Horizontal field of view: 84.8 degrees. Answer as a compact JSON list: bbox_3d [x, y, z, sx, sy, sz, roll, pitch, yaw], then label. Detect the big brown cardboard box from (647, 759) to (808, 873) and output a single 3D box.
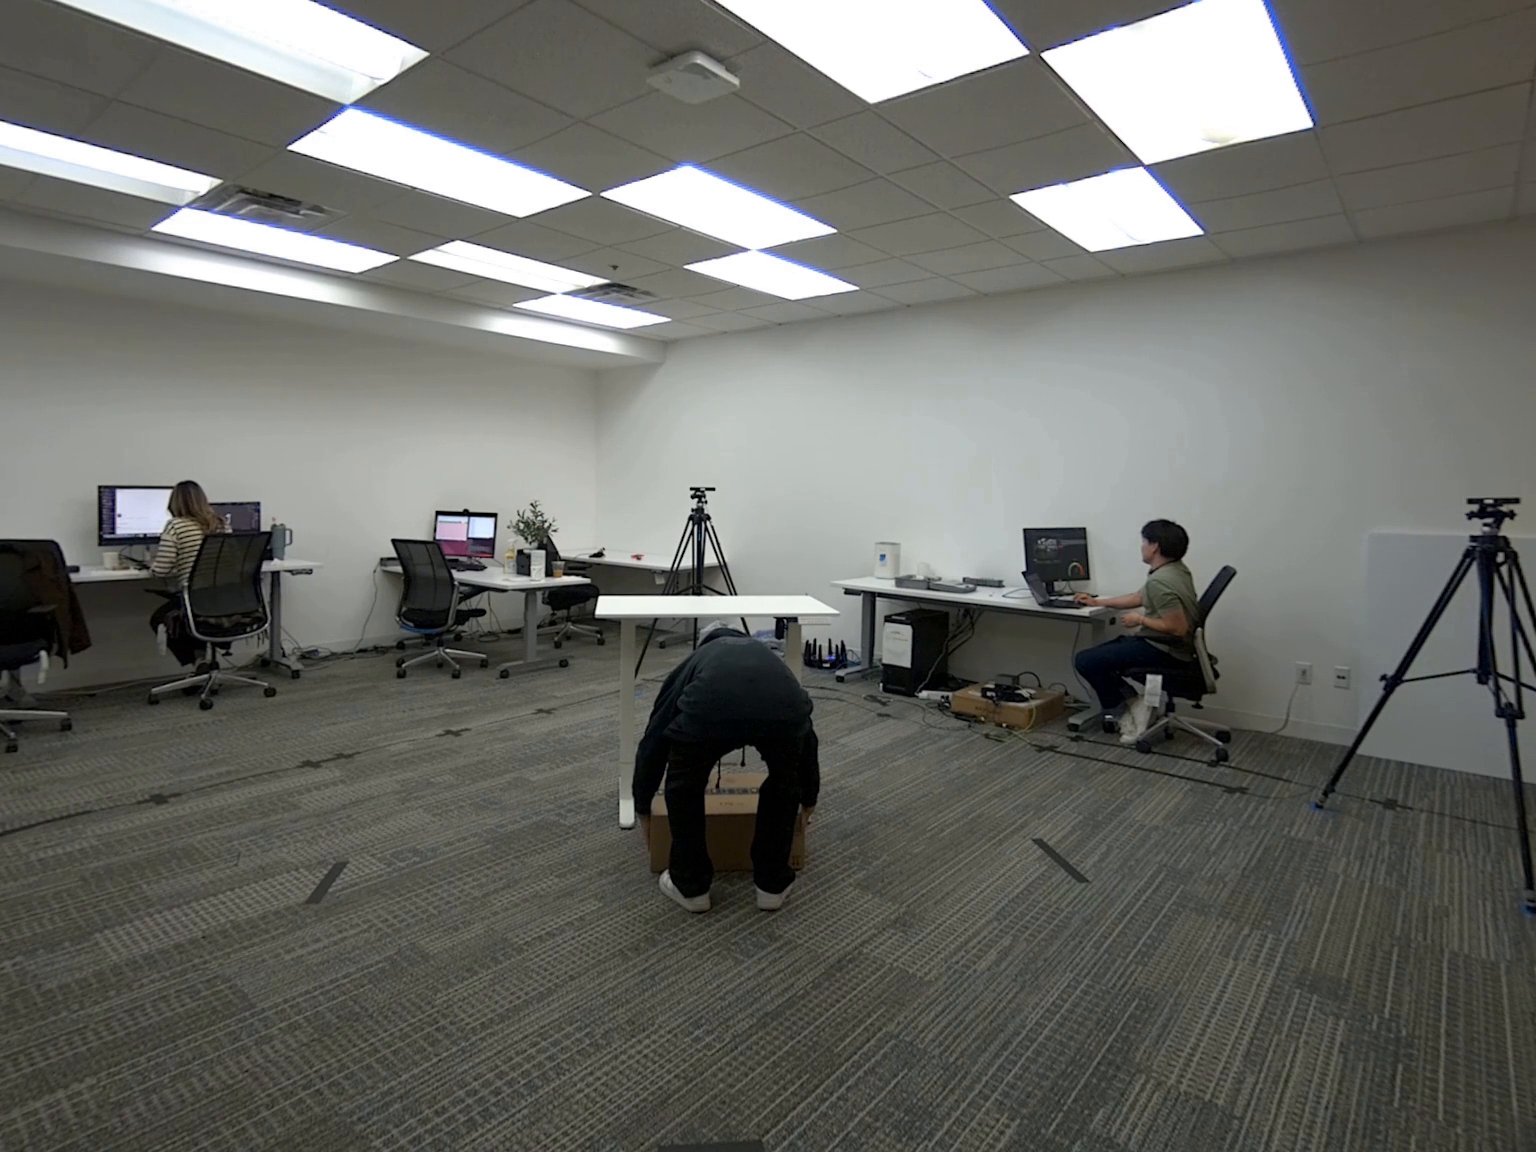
[{"bbox_3d":[-0.184,0.936,3.287,0.585,0.232,0.423,1,6,-7],"label":"big brown cardboard box"}]
